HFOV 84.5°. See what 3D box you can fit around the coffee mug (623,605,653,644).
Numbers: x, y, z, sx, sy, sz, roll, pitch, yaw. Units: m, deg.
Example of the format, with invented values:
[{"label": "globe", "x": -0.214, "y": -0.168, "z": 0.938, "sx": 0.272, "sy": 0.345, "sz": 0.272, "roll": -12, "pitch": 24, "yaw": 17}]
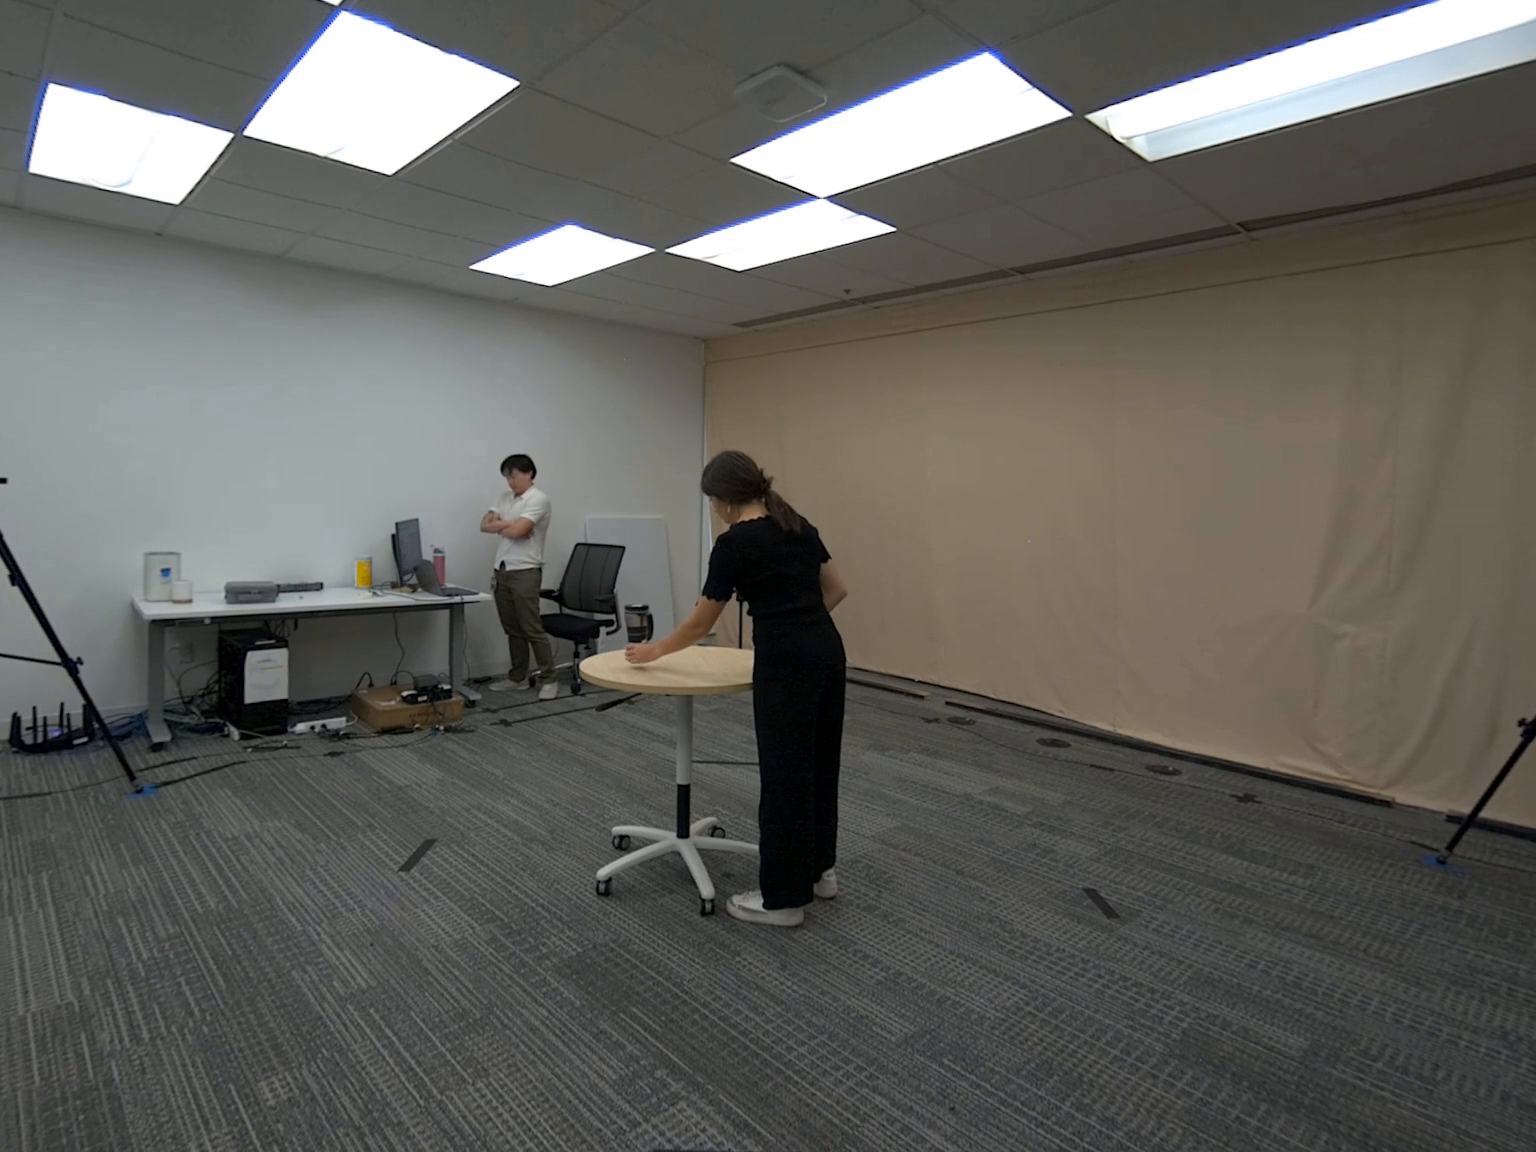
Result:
[{"label": "coffee mug", "x": -0.449, "y": 0.208, "z": 2.949, "sx": 0.086, "sy": 0.202, "sz": 0.124, "roll": -2, "pitch": 6, "yaw": -22}]
